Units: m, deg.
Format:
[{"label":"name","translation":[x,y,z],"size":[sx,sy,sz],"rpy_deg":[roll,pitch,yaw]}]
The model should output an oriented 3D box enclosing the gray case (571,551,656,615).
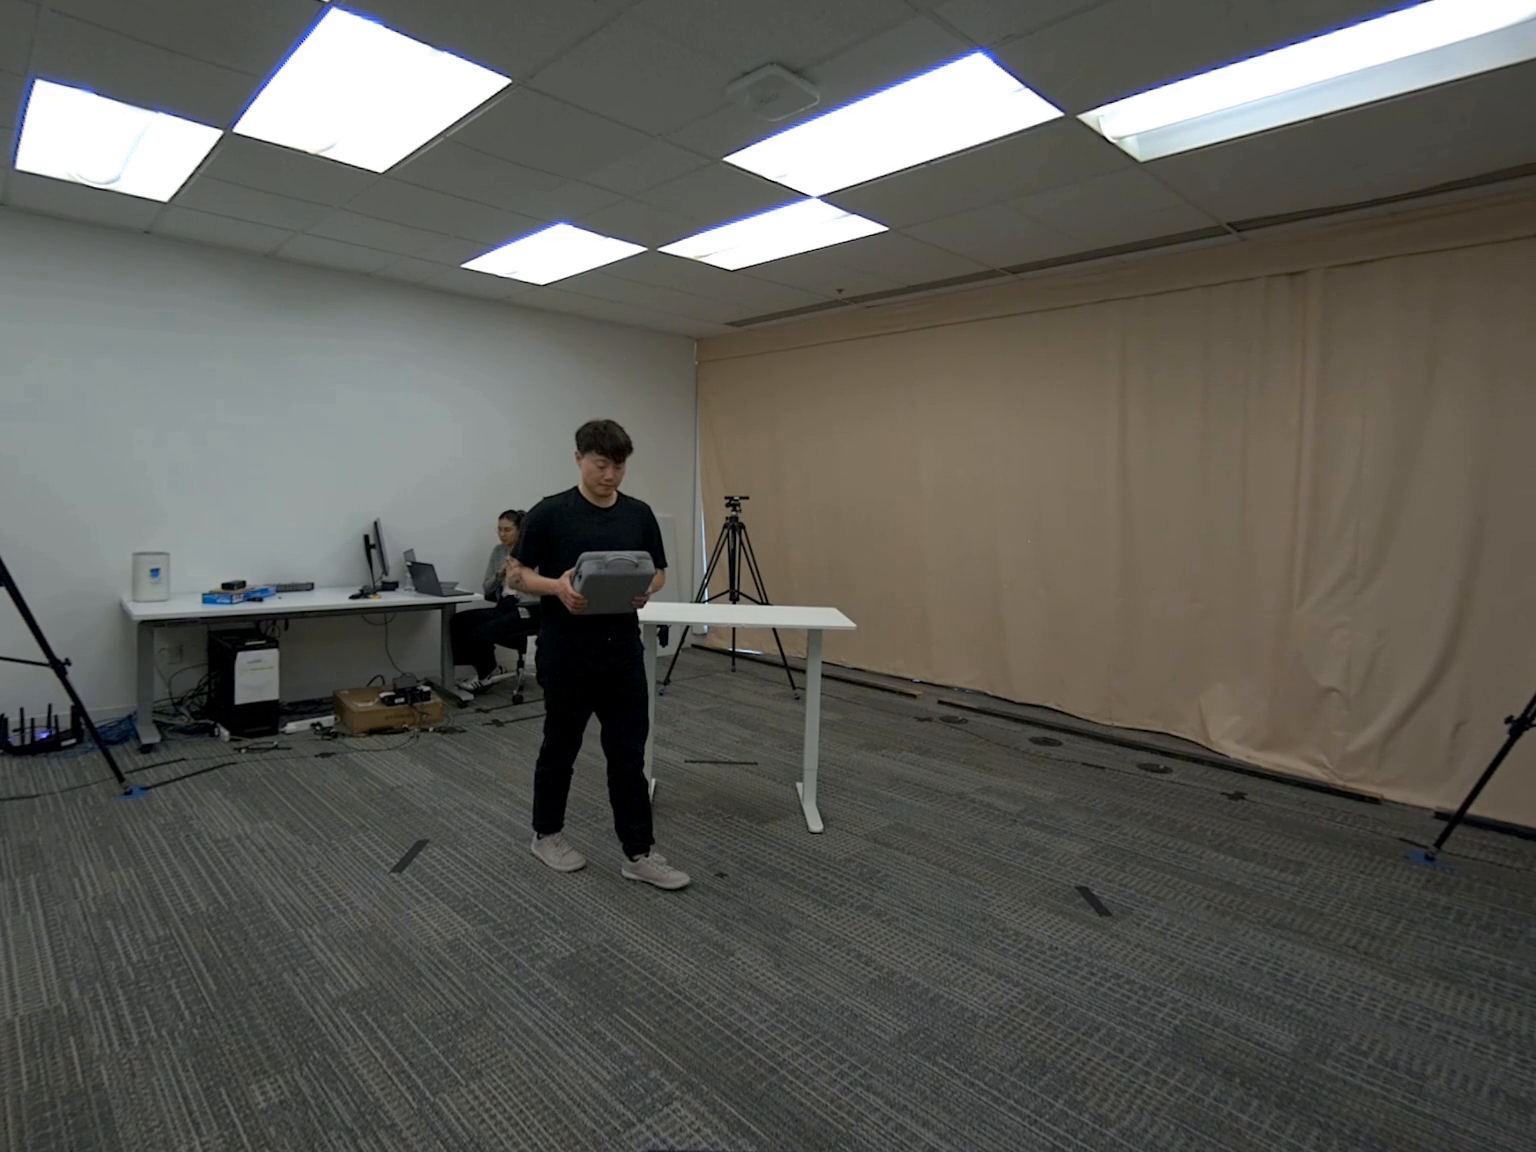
[{"label":"gray case","translation":[-0.531,0.014,2.850],"size":[0.251,0.107,0.260],"rpy_deg":[-1,-32,-32]}]
